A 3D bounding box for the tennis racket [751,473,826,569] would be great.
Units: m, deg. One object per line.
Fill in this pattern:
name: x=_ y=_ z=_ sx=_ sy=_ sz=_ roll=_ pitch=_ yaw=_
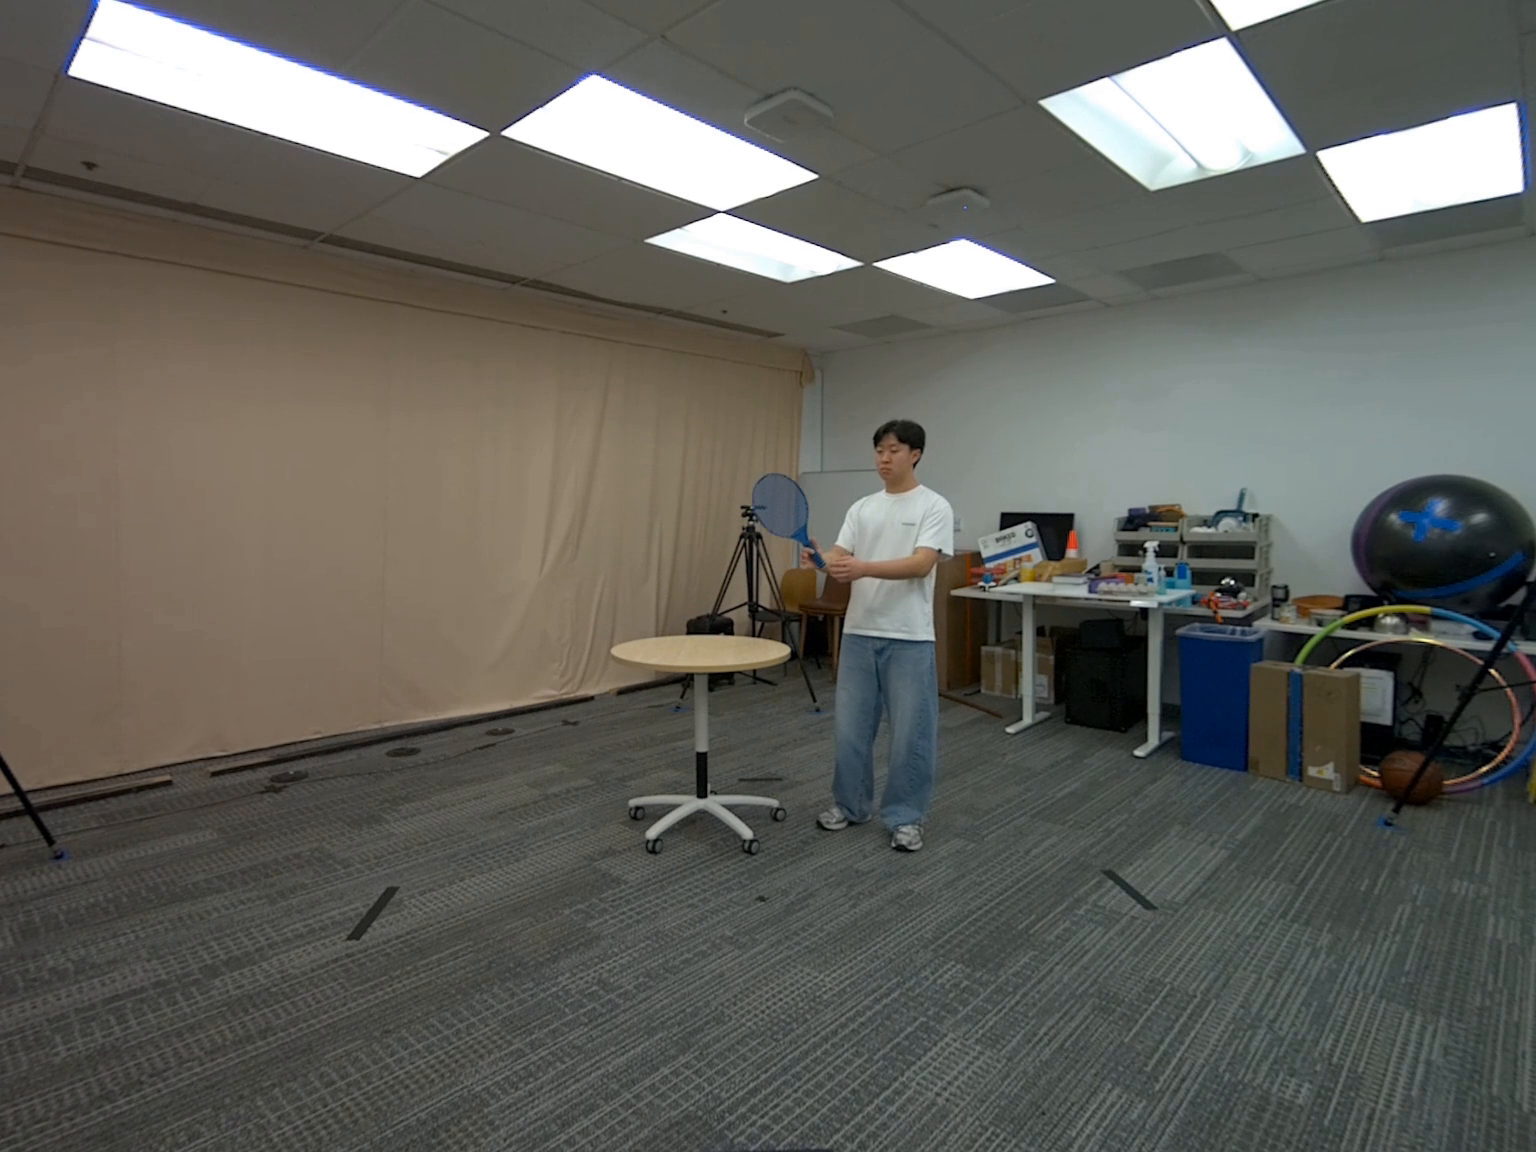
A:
tennis racket: x=0.104 y=-0.208 z=3.280 sx=0.213 sy=0.427 sz=0.032 roll=-36 pitch=12 yaw=-9
